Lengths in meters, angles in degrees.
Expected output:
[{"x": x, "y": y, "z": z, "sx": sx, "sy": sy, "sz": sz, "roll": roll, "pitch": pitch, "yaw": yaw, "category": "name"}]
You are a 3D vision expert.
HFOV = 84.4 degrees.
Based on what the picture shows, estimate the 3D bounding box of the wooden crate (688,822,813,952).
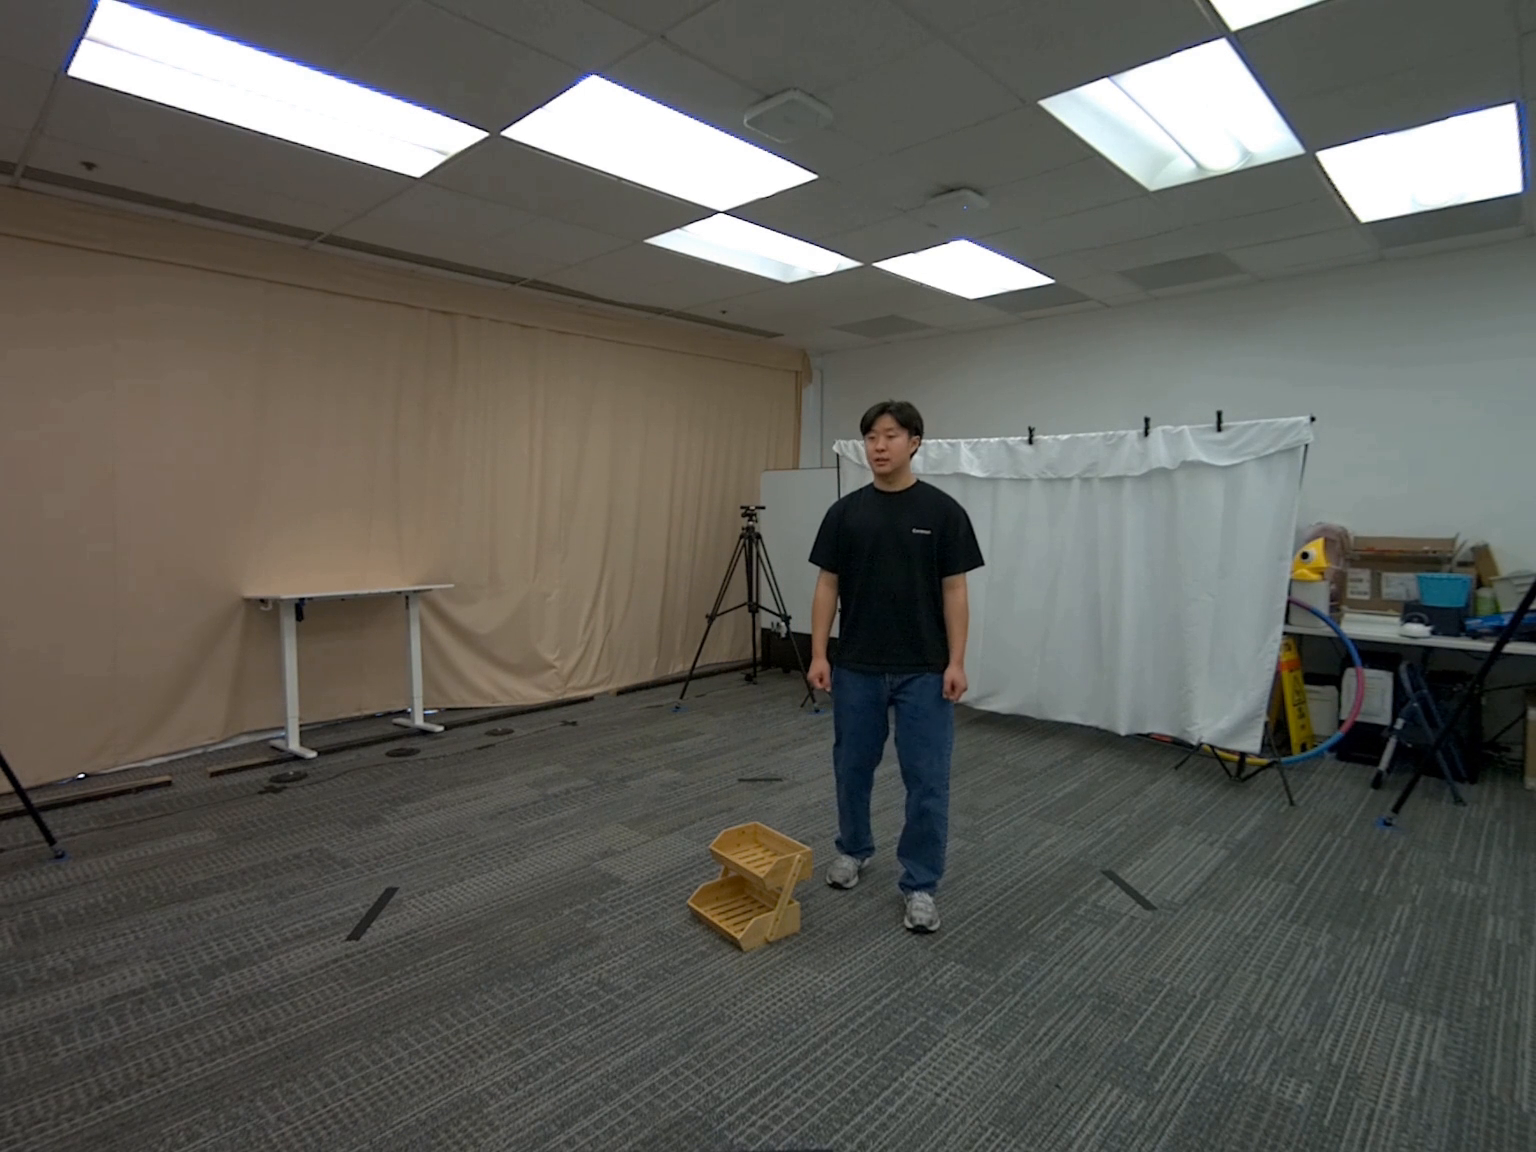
[{"x": -0.063, "y": 1.028, "z": 2.819, "sx": 0.293, "sy": 0.273, "sz": 0.335, "roll": -2, "pitch": 4, "yaw": -37, "category": "wooden crate"}]
